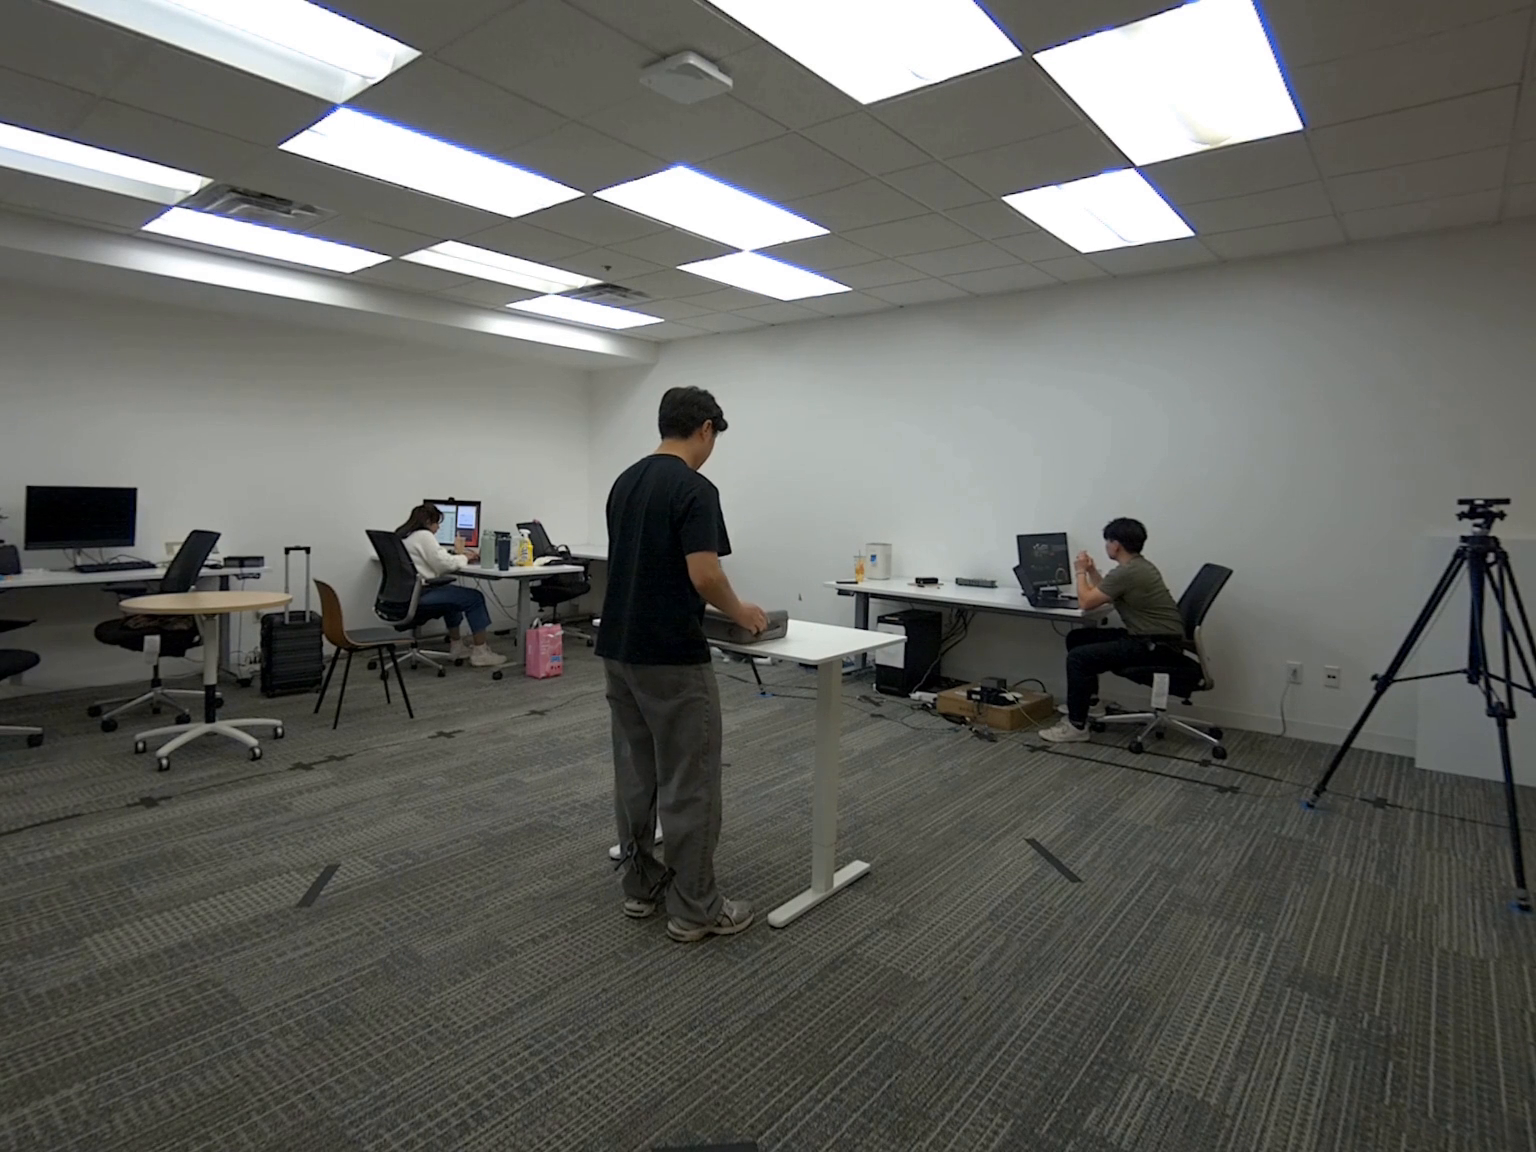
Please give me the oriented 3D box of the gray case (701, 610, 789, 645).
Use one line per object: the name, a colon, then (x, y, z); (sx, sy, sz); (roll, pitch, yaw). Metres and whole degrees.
gray case: (-0.090, 0.158, 2.941); (0.269, 0.104, 0.249); (6, 6, 36)
